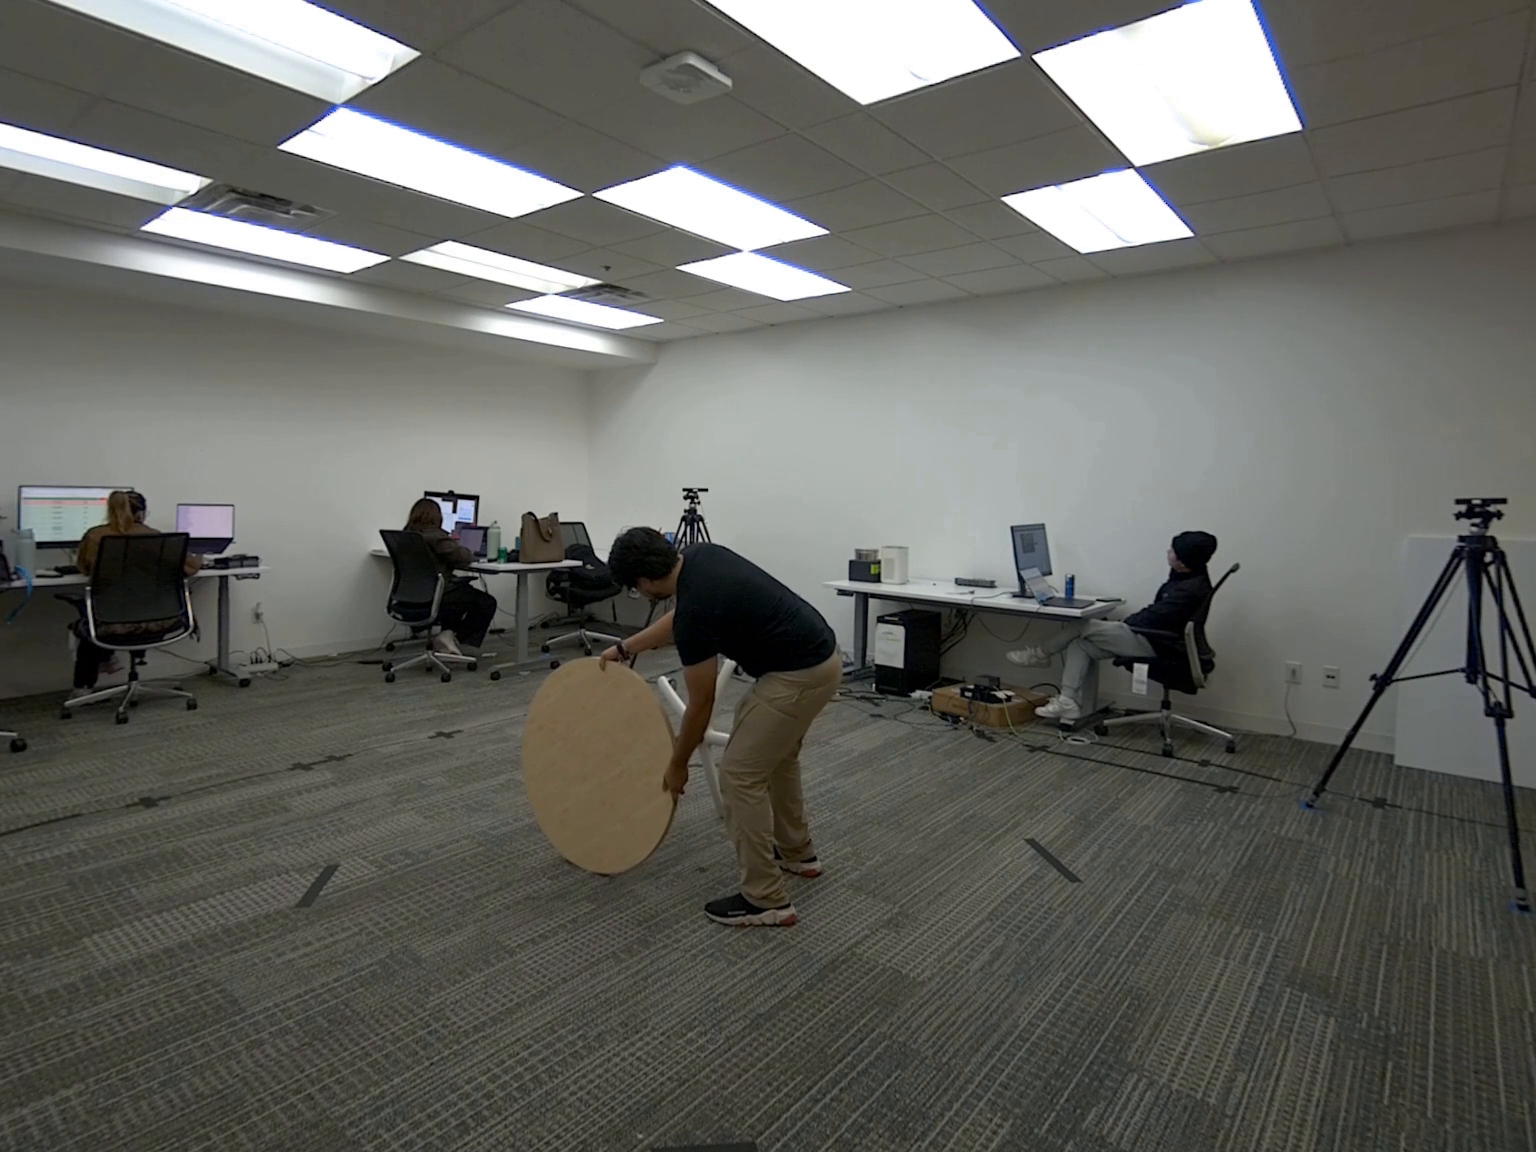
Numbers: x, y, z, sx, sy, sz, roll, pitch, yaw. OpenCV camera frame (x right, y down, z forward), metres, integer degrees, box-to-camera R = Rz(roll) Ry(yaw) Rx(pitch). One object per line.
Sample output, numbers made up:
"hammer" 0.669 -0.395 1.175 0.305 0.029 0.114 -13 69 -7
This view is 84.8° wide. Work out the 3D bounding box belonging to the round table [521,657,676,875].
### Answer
"round table" -0.446 0.670 3.417 0.809 0.785 0.762 4 1 33
